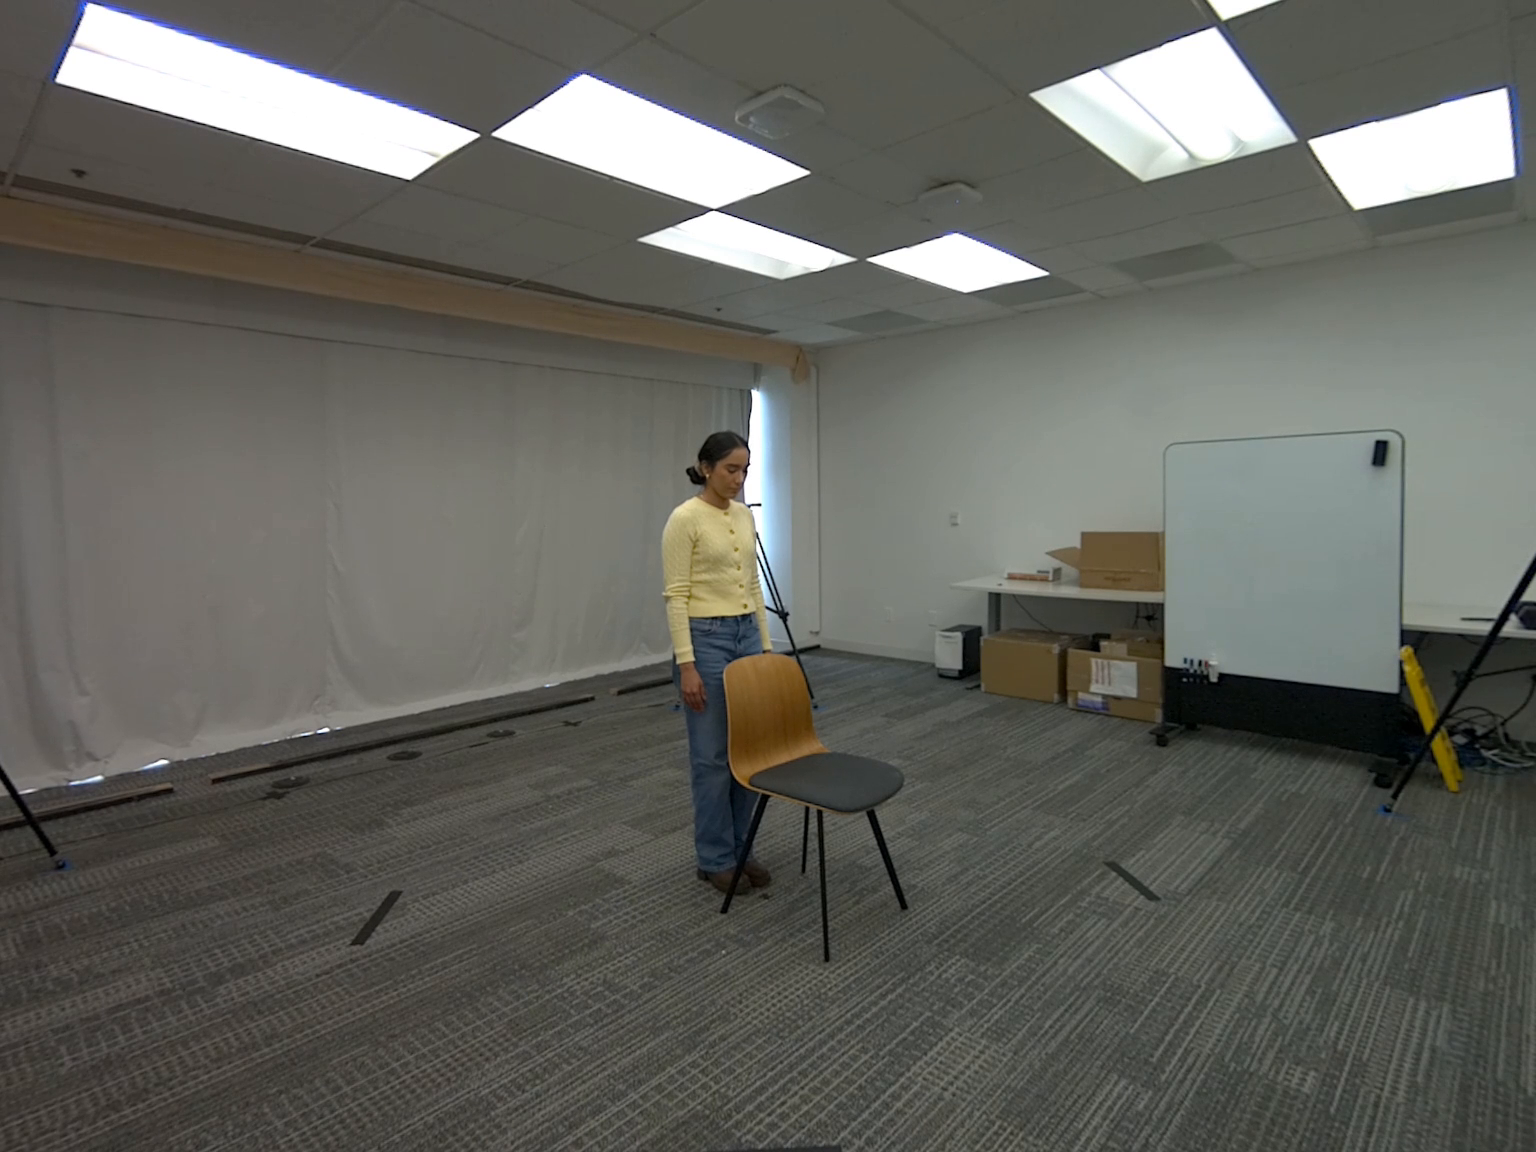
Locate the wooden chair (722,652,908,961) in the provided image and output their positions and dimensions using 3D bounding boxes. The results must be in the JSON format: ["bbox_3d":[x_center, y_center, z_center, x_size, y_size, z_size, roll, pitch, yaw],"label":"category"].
[{"bbox_3d":[0.164,0.719,2.827,0.539,0.877,0.463,-4,0,43],"label":"wooden chair"}]
